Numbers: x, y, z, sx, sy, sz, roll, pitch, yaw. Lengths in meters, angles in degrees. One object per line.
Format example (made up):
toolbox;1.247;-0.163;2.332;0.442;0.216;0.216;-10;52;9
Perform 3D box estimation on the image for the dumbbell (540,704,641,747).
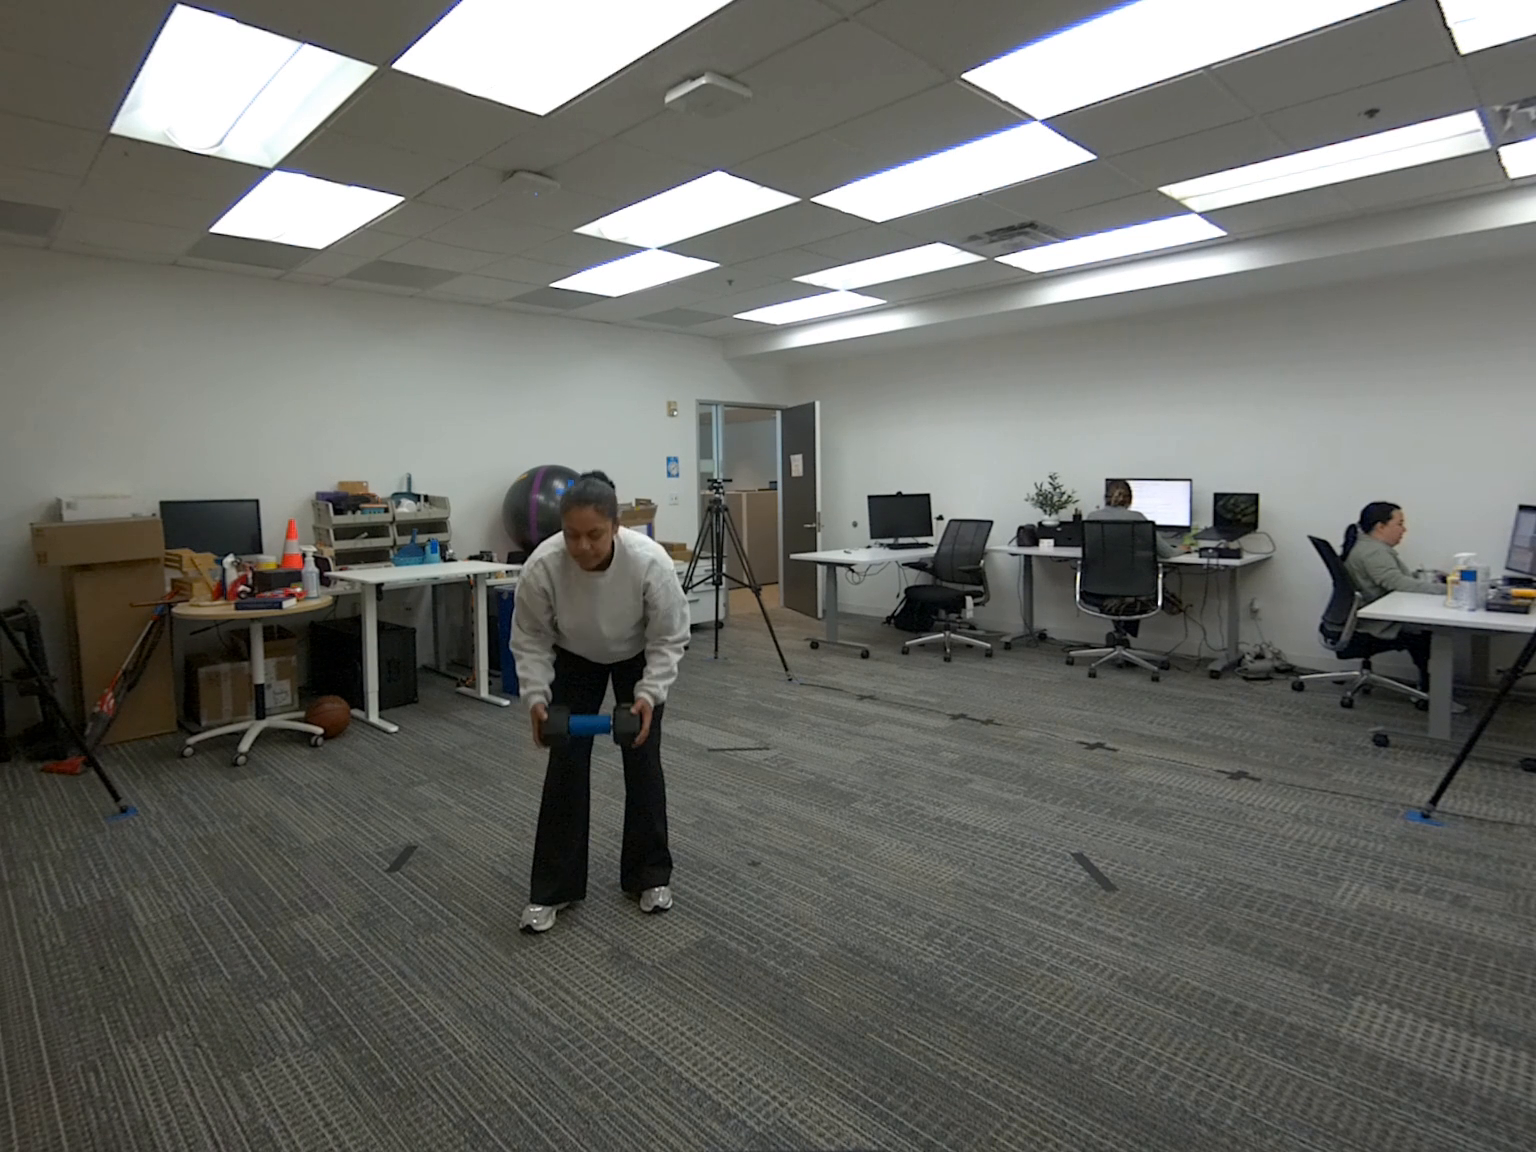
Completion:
dumbbell;-0.537;0.446;2.573;0.292;0.107;0.125;0;12;-5
